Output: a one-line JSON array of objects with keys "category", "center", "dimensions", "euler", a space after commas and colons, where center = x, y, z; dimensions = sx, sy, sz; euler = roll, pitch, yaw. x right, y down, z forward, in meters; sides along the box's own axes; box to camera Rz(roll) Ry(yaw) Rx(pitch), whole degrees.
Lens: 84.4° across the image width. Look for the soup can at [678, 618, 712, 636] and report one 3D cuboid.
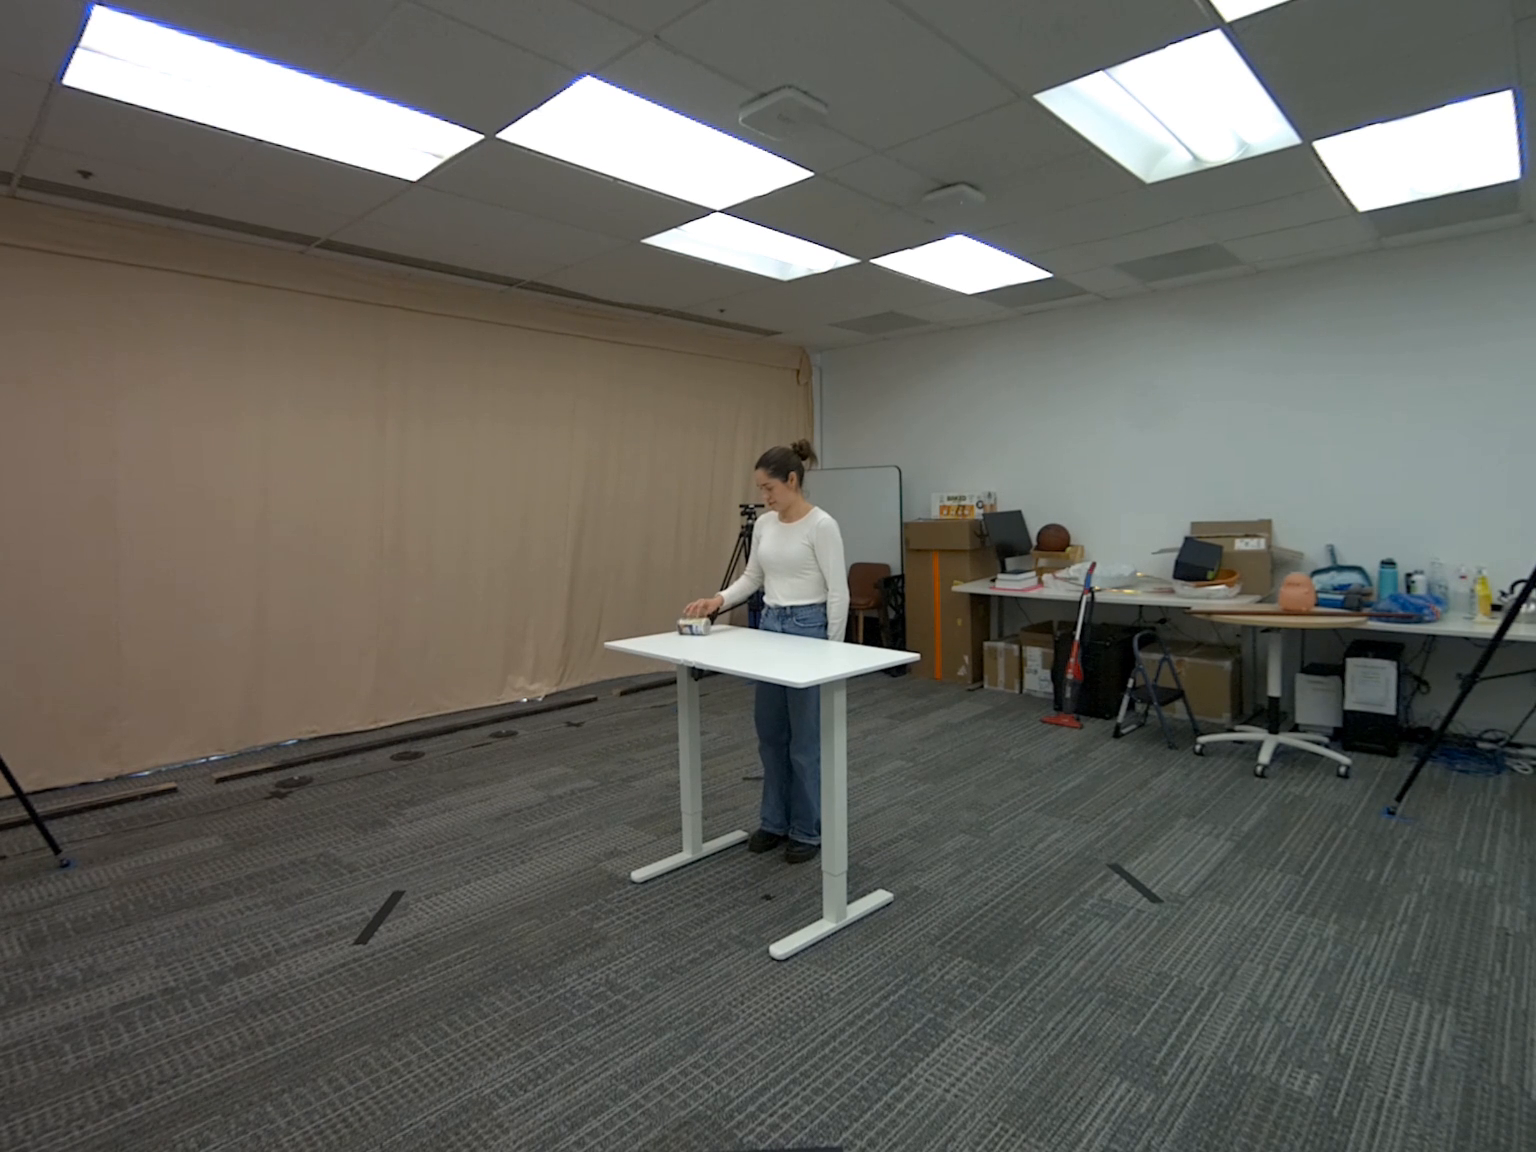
[{"category": "soup can", "center": [-0.256, 0.201, 3.310], "dimensions": [0.121, 0.067, 0.067], "euler": [-2, 4, 0]}]
